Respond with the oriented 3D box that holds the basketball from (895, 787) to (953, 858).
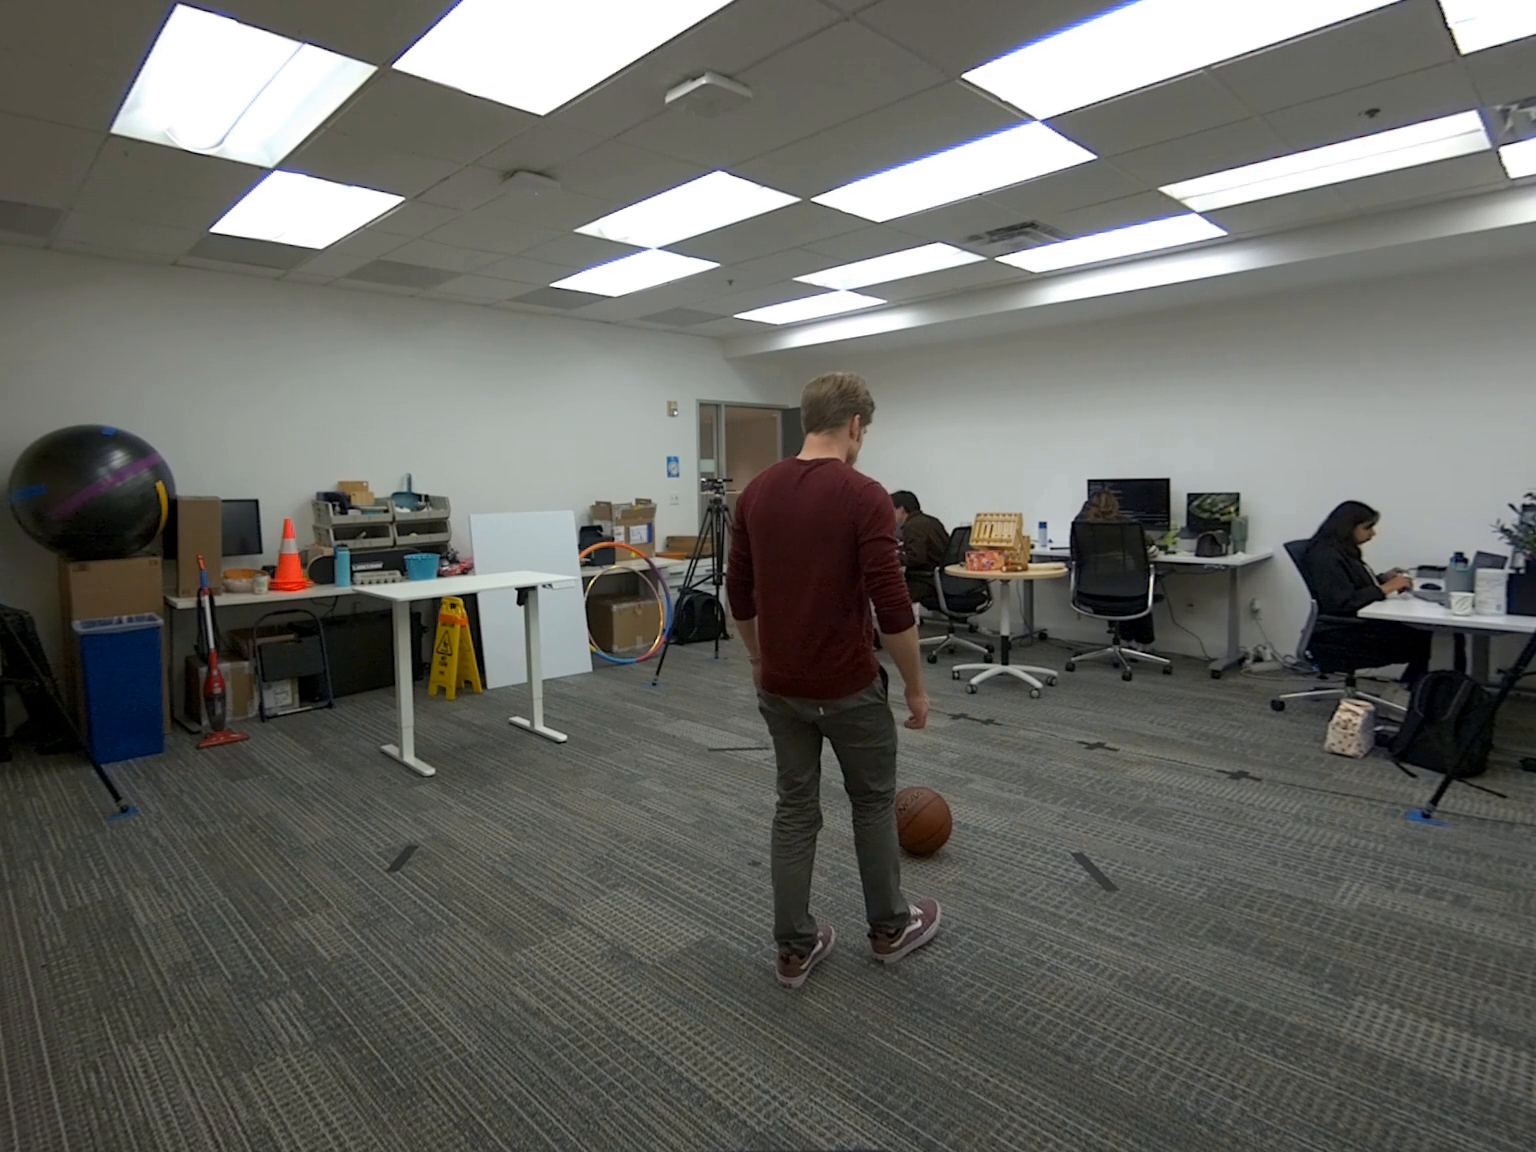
[{"bbox_3d":[0.568,0.909,3.175,0.236,0.235,0.237,-1,5,-2],"label":"basketball"}]
